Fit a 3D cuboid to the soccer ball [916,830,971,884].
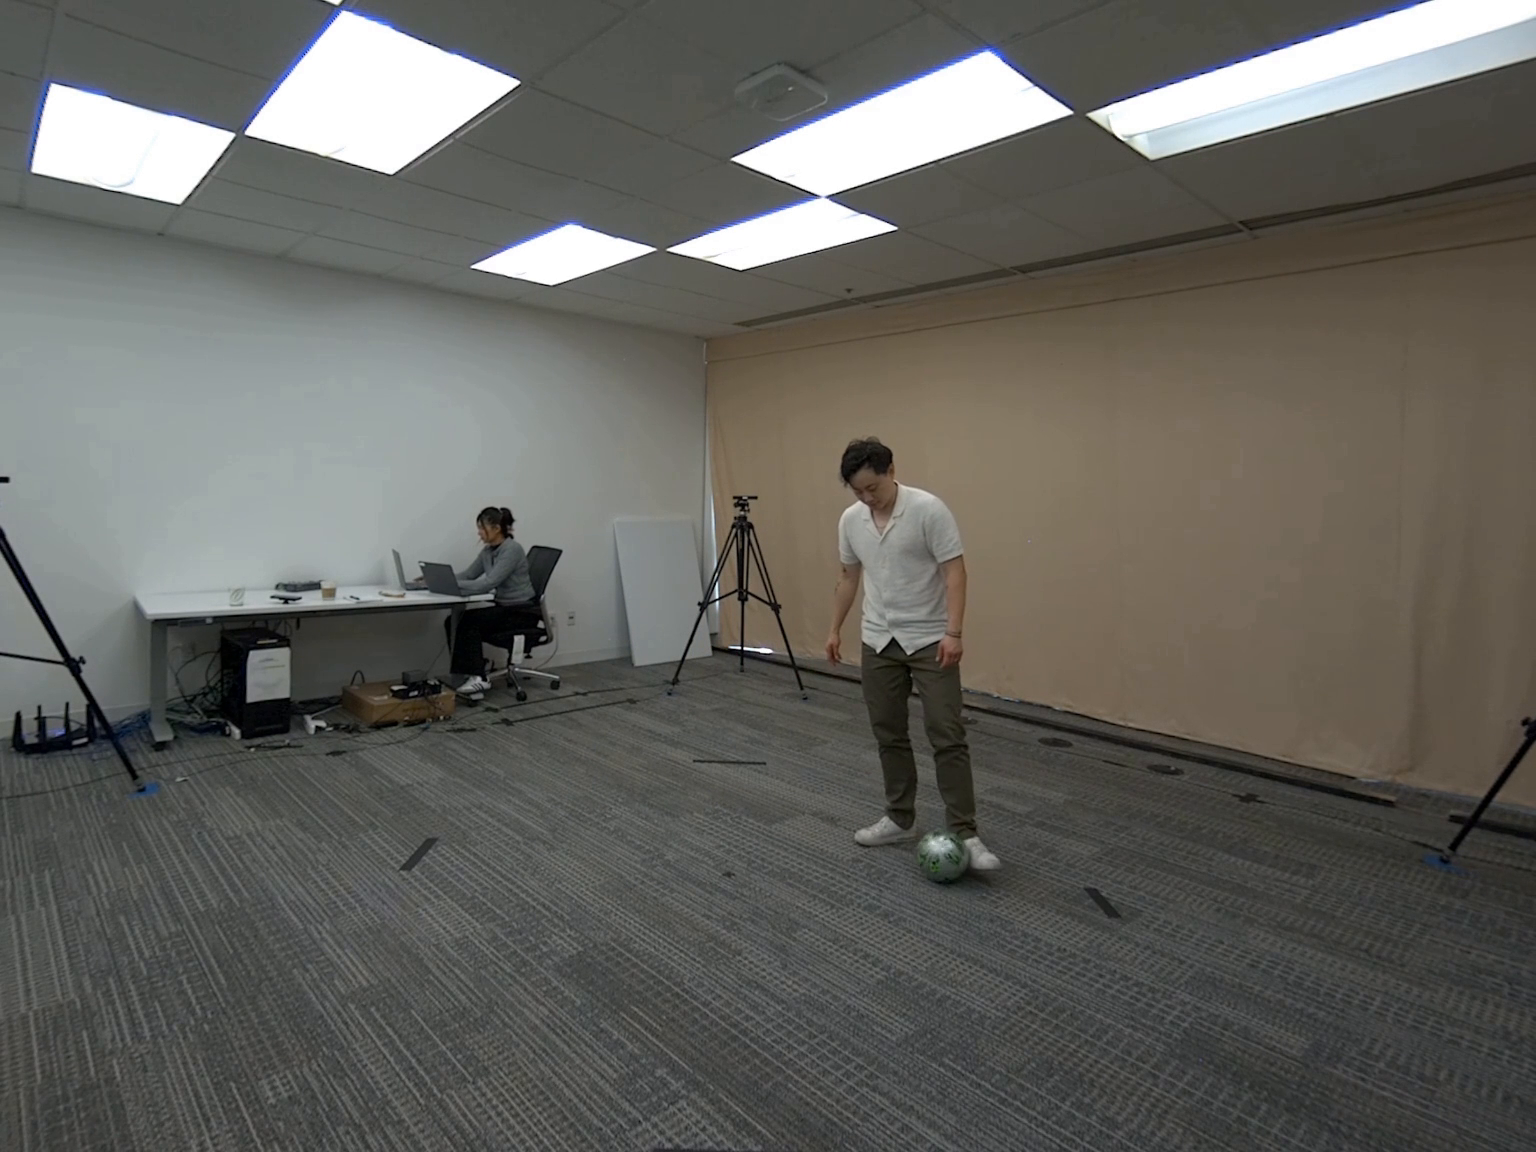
[{"bbox_3d":[0.616,1.032,3.099,0.187,0.187,0.188,1,4,-1],"label":"soccer ball"}]
